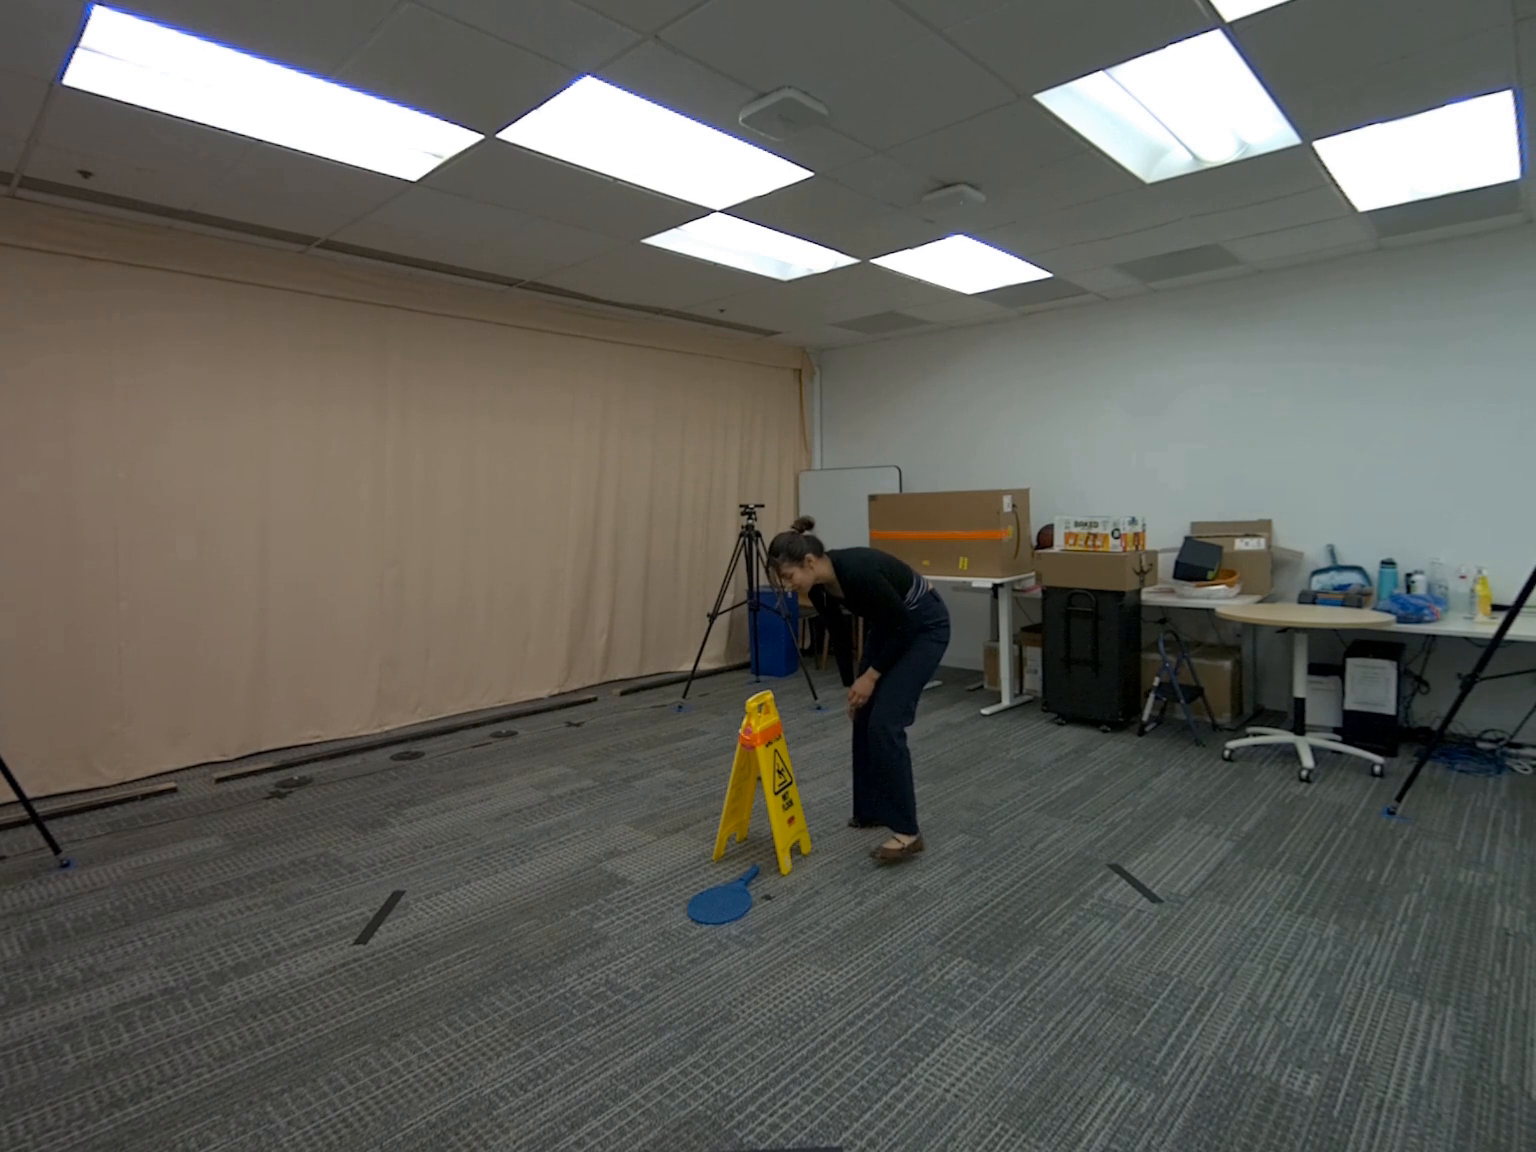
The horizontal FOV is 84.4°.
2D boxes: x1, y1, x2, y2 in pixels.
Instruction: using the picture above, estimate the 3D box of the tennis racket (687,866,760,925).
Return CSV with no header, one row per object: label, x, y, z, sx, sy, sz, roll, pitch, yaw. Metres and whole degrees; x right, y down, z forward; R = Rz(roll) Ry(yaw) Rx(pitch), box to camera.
tennis racket,-0.132,1.122,2.994,0.219,0.031,0.423,2,7,26
